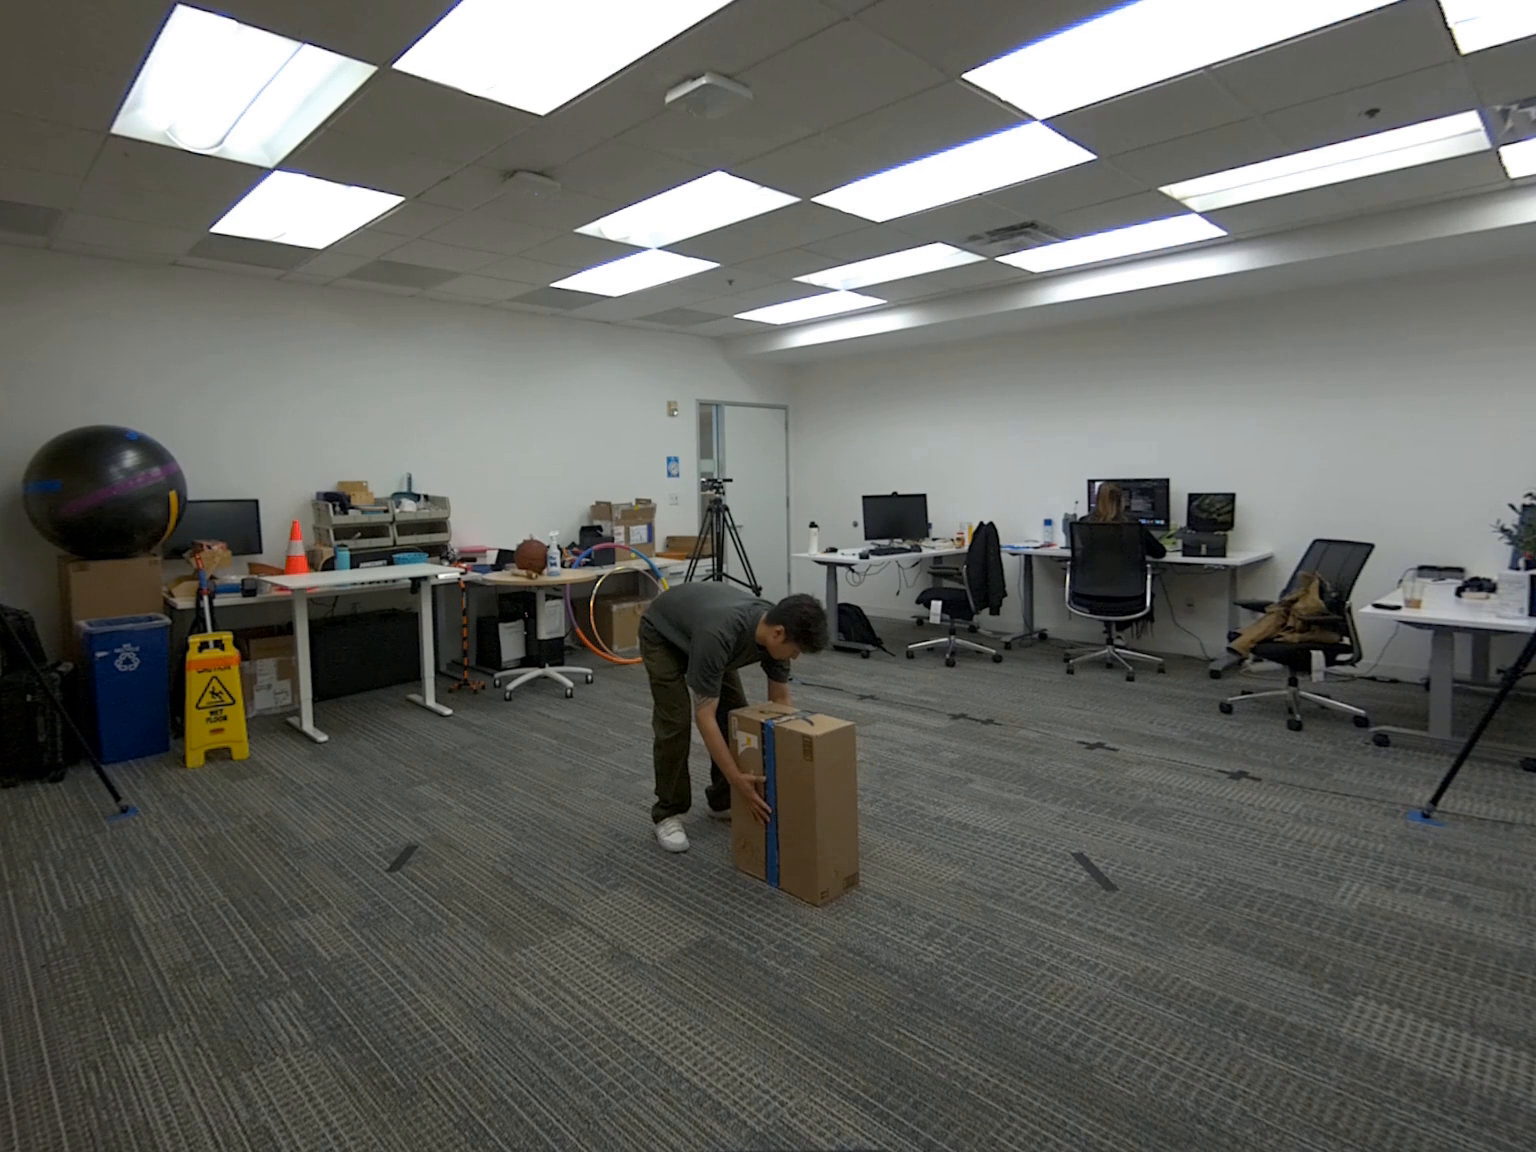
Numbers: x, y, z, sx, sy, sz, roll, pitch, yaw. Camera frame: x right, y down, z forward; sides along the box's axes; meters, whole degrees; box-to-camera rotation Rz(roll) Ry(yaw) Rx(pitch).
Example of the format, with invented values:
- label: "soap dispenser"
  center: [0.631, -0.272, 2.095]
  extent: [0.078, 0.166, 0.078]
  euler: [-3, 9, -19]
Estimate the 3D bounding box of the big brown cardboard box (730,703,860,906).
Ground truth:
- label: "big brown cardboard box"
  center: [0.088, 0.769, 2.985]
  extent: [0.227, 0.587, 0.430]
  euler: [-5, 5, -42]
